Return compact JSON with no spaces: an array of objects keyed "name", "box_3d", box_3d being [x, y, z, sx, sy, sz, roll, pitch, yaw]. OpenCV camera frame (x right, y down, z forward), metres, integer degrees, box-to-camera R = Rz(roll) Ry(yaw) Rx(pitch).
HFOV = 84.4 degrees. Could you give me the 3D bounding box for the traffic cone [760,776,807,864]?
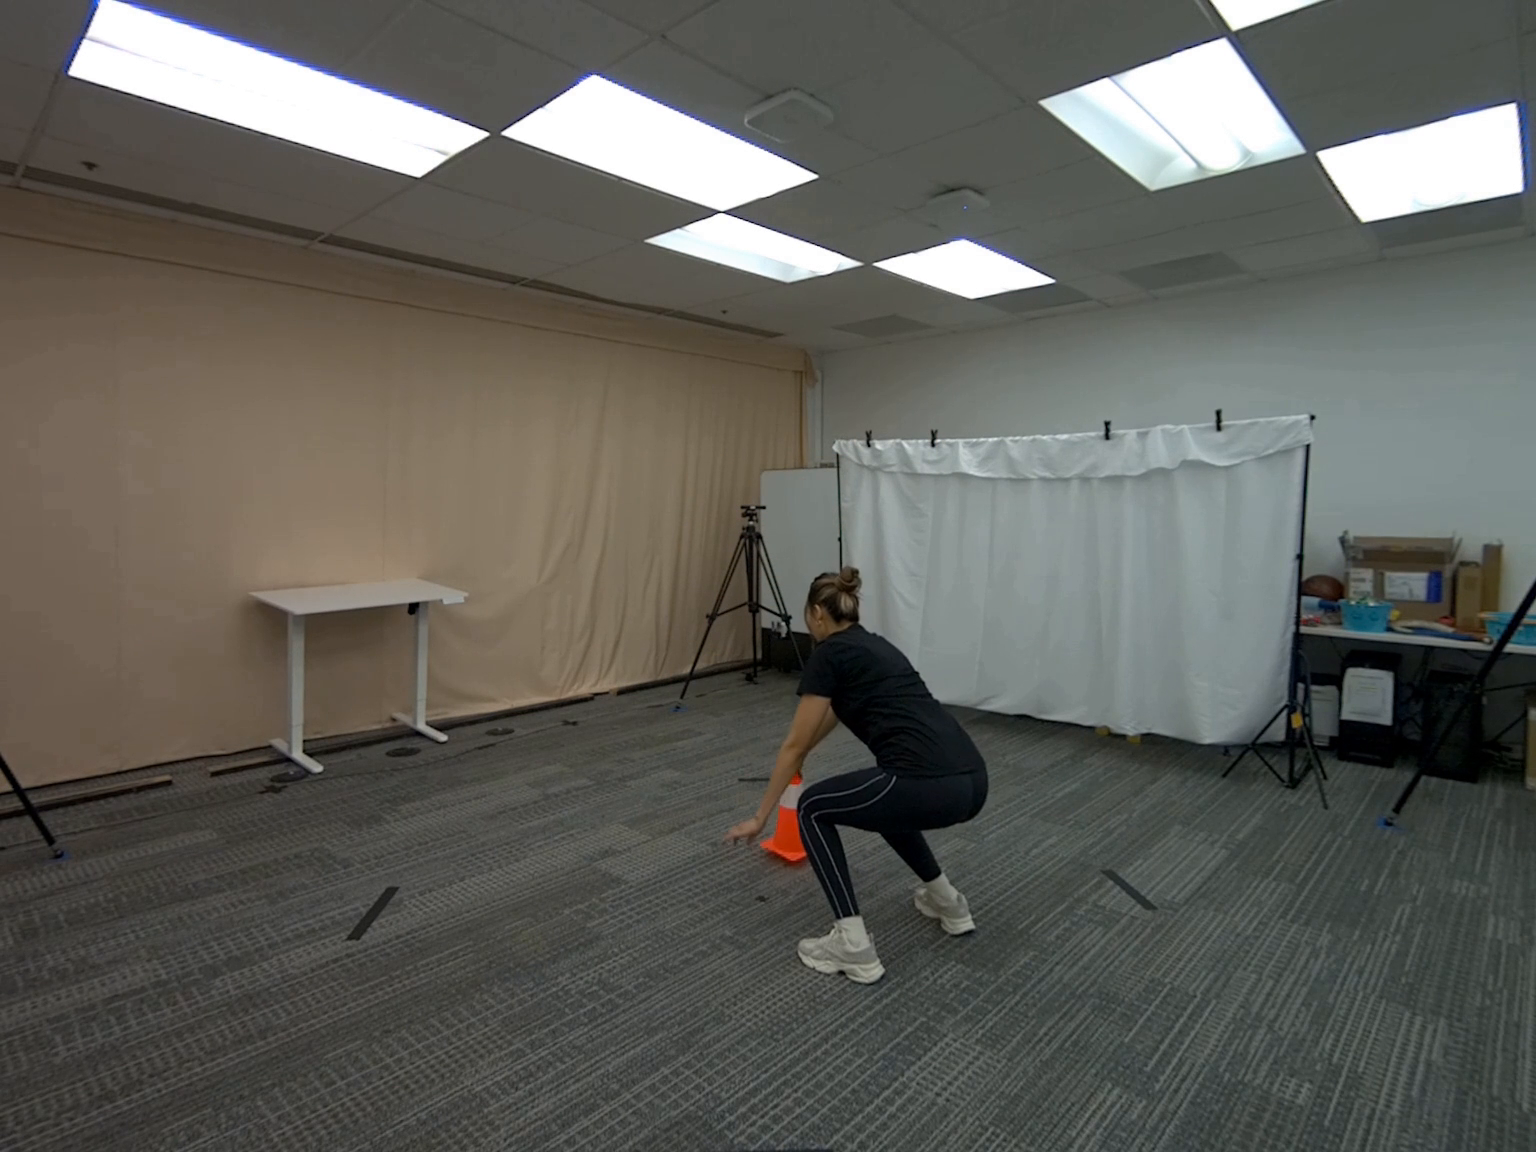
[{"name":"traffic cone","box_3d":[0.102,0.881,3.333,0.212,0.383,0.197,5,5,36]}]
